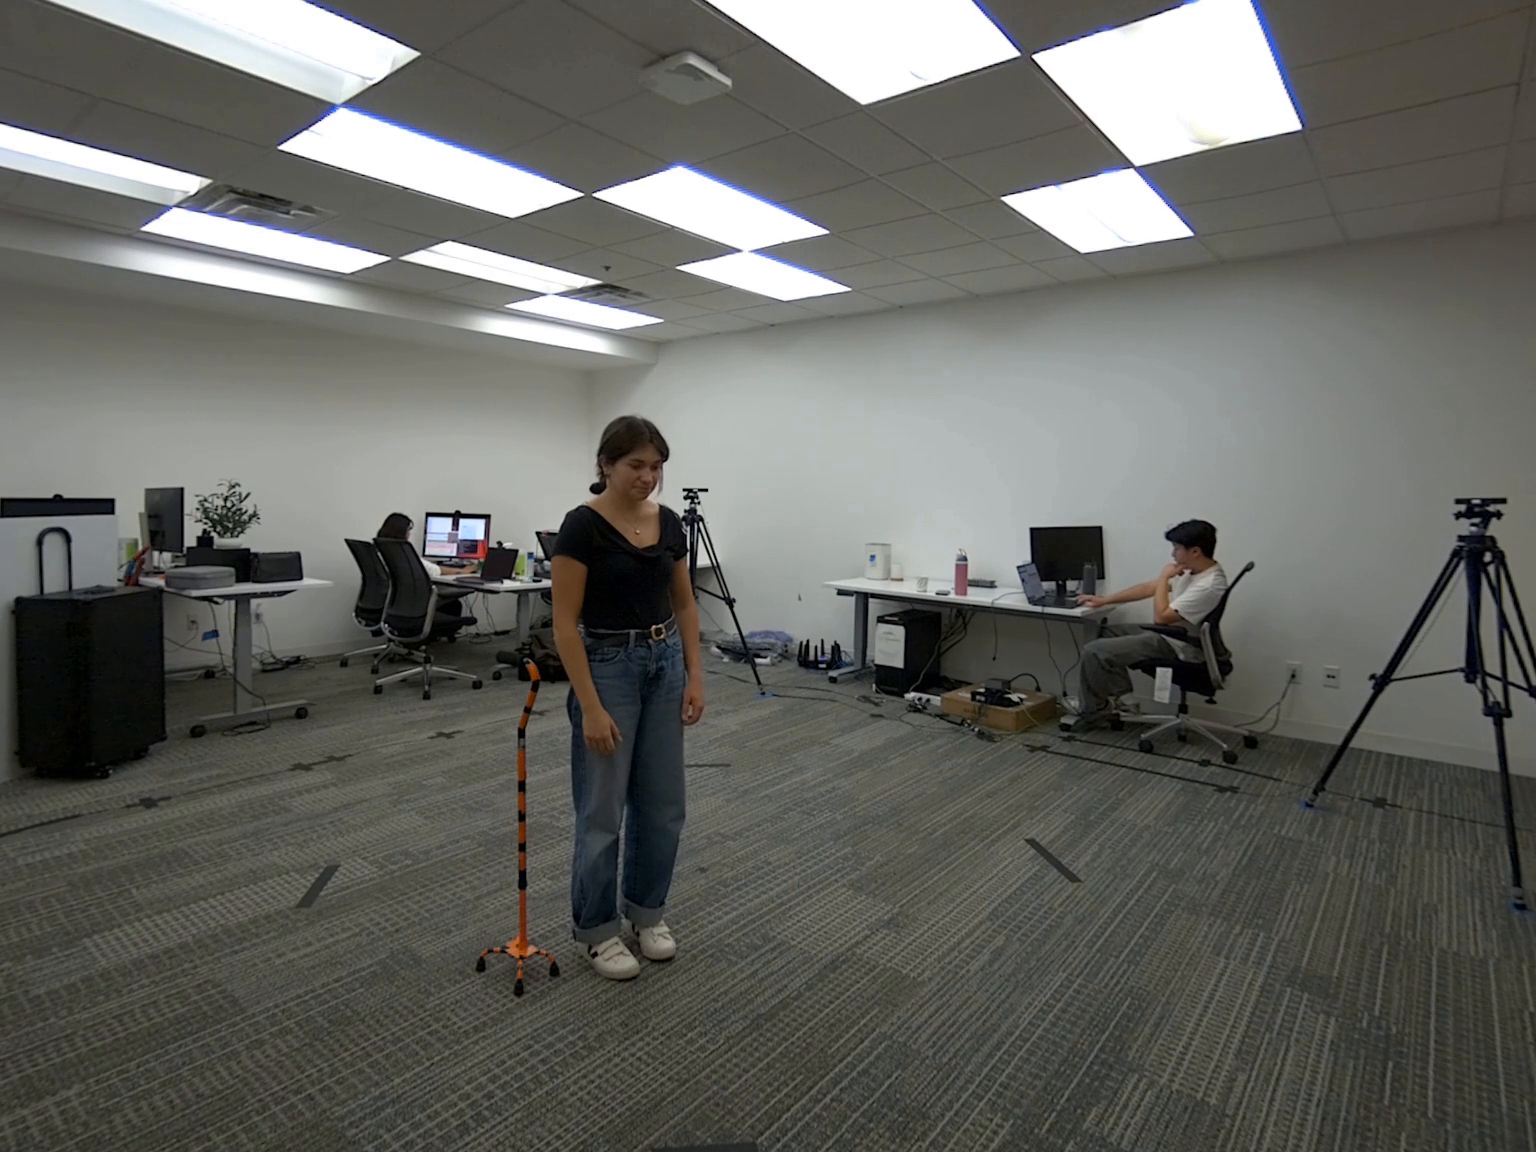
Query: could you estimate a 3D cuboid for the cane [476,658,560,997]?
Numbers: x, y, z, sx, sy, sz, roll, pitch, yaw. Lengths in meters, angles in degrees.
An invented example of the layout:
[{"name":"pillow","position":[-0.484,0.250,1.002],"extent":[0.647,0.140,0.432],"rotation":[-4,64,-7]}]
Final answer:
[{"name":"cane","position":[-0.717,0.679,2.417],"extent":[0.213,0.906,0.147],"rotation":[3,3,38]}]
